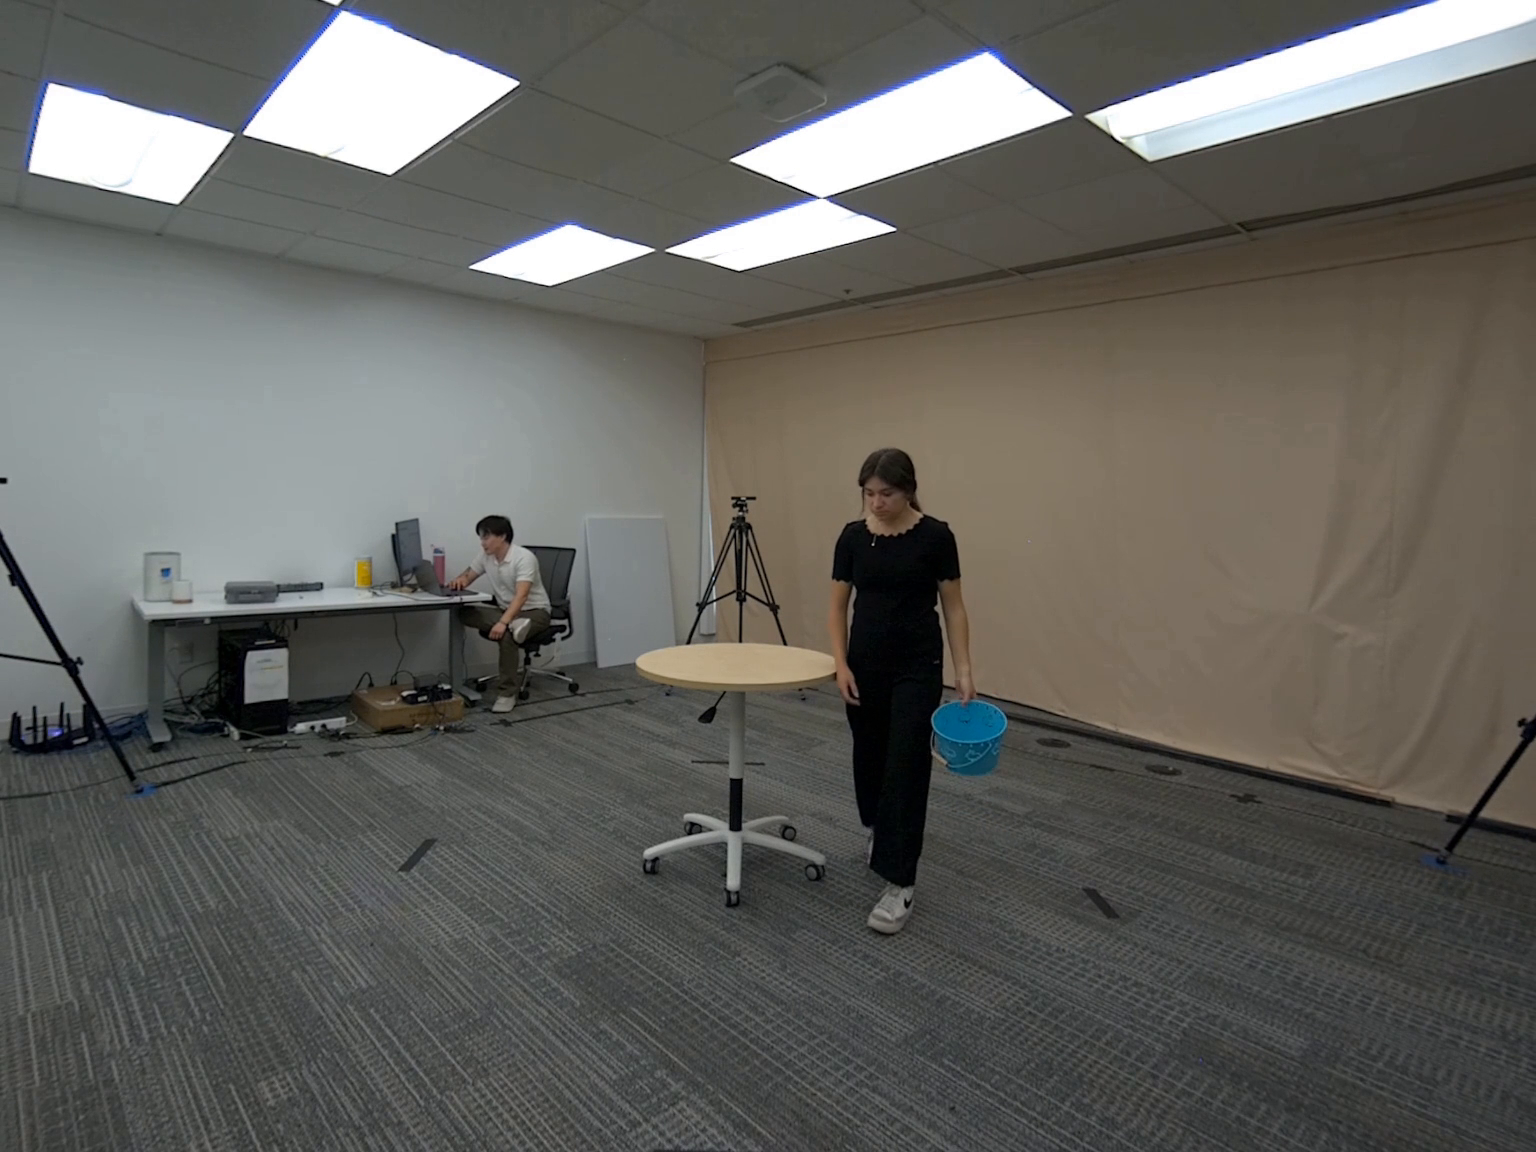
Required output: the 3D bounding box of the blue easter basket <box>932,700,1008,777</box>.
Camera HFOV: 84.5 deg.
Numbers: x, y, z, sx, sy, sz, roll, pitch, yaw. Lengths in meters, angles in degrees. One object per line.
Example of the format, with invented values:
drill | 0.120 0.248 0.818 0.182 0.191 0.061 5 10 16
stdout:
blue easter basket | 0.644 0.524 2.719 0.244 0.153 0.247 -5 23 1
